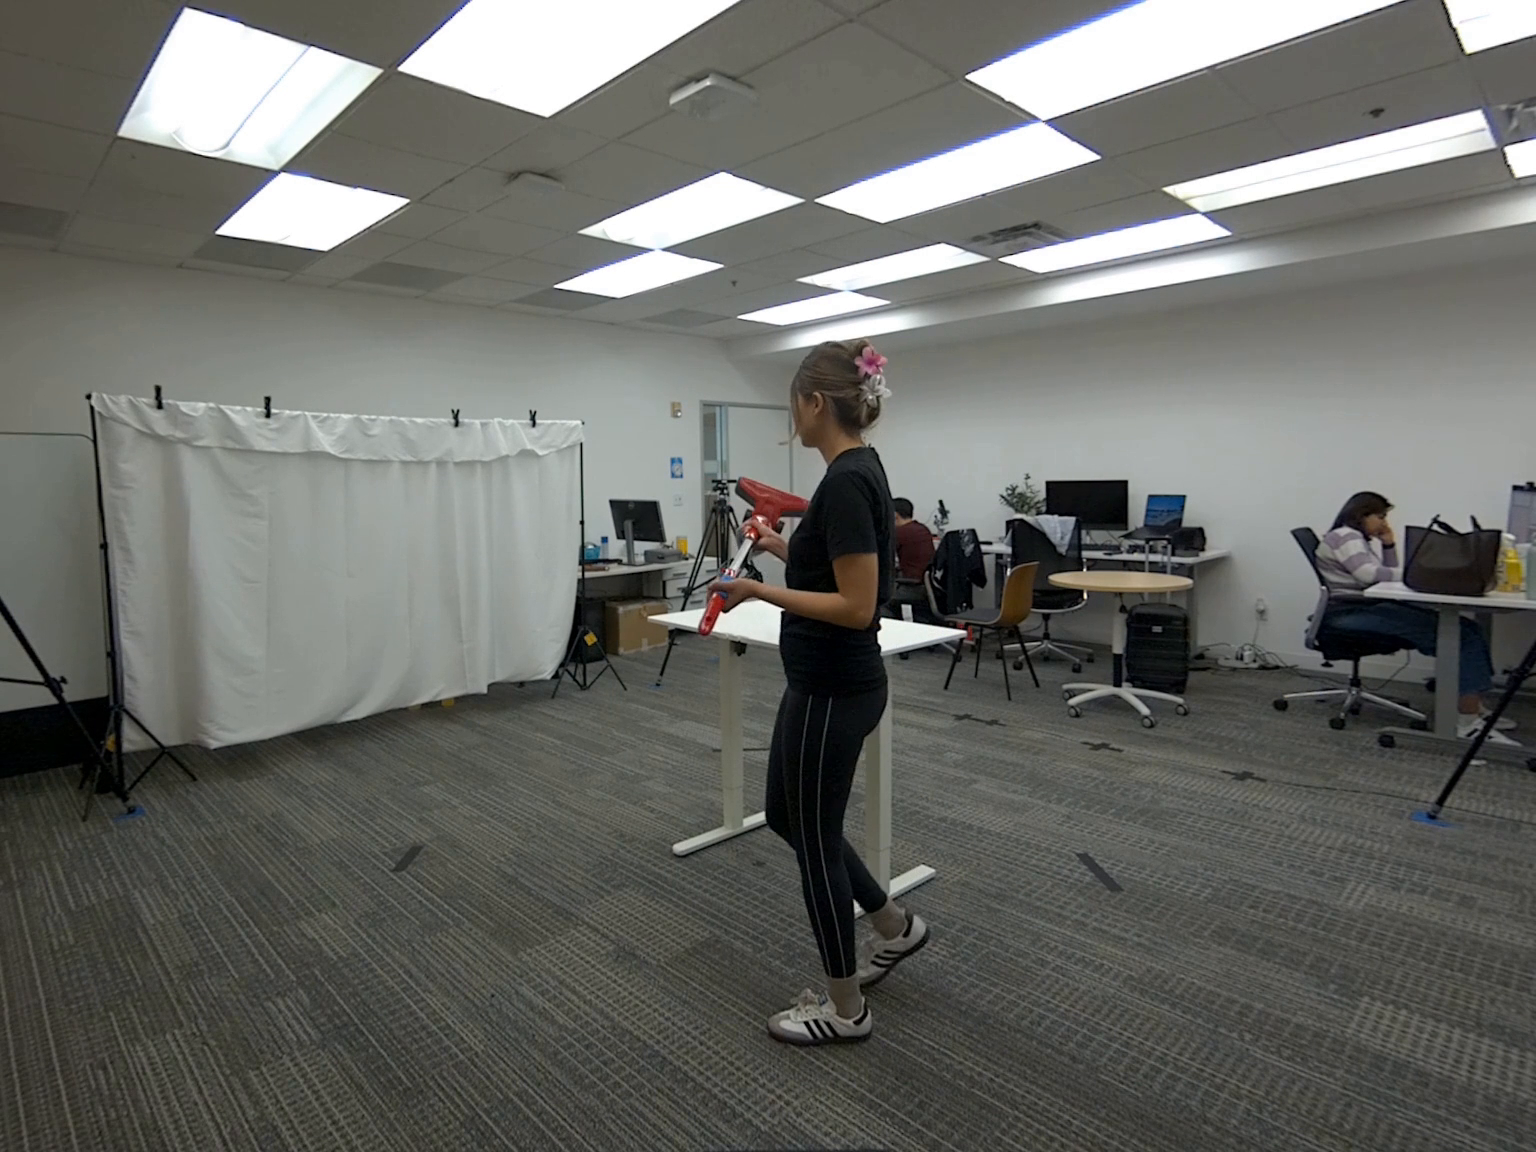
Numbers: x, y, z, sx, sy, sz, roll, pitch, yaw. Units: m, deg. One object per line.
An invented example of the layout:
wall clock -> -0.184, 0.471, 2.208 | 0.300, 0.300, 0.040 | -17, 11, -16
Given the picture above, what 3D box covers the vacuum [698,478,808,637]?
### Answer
vacuum -> -0.079, -0.048, 2.331 | 0.254, 0.142, 1.056 | 20, 21, 1
